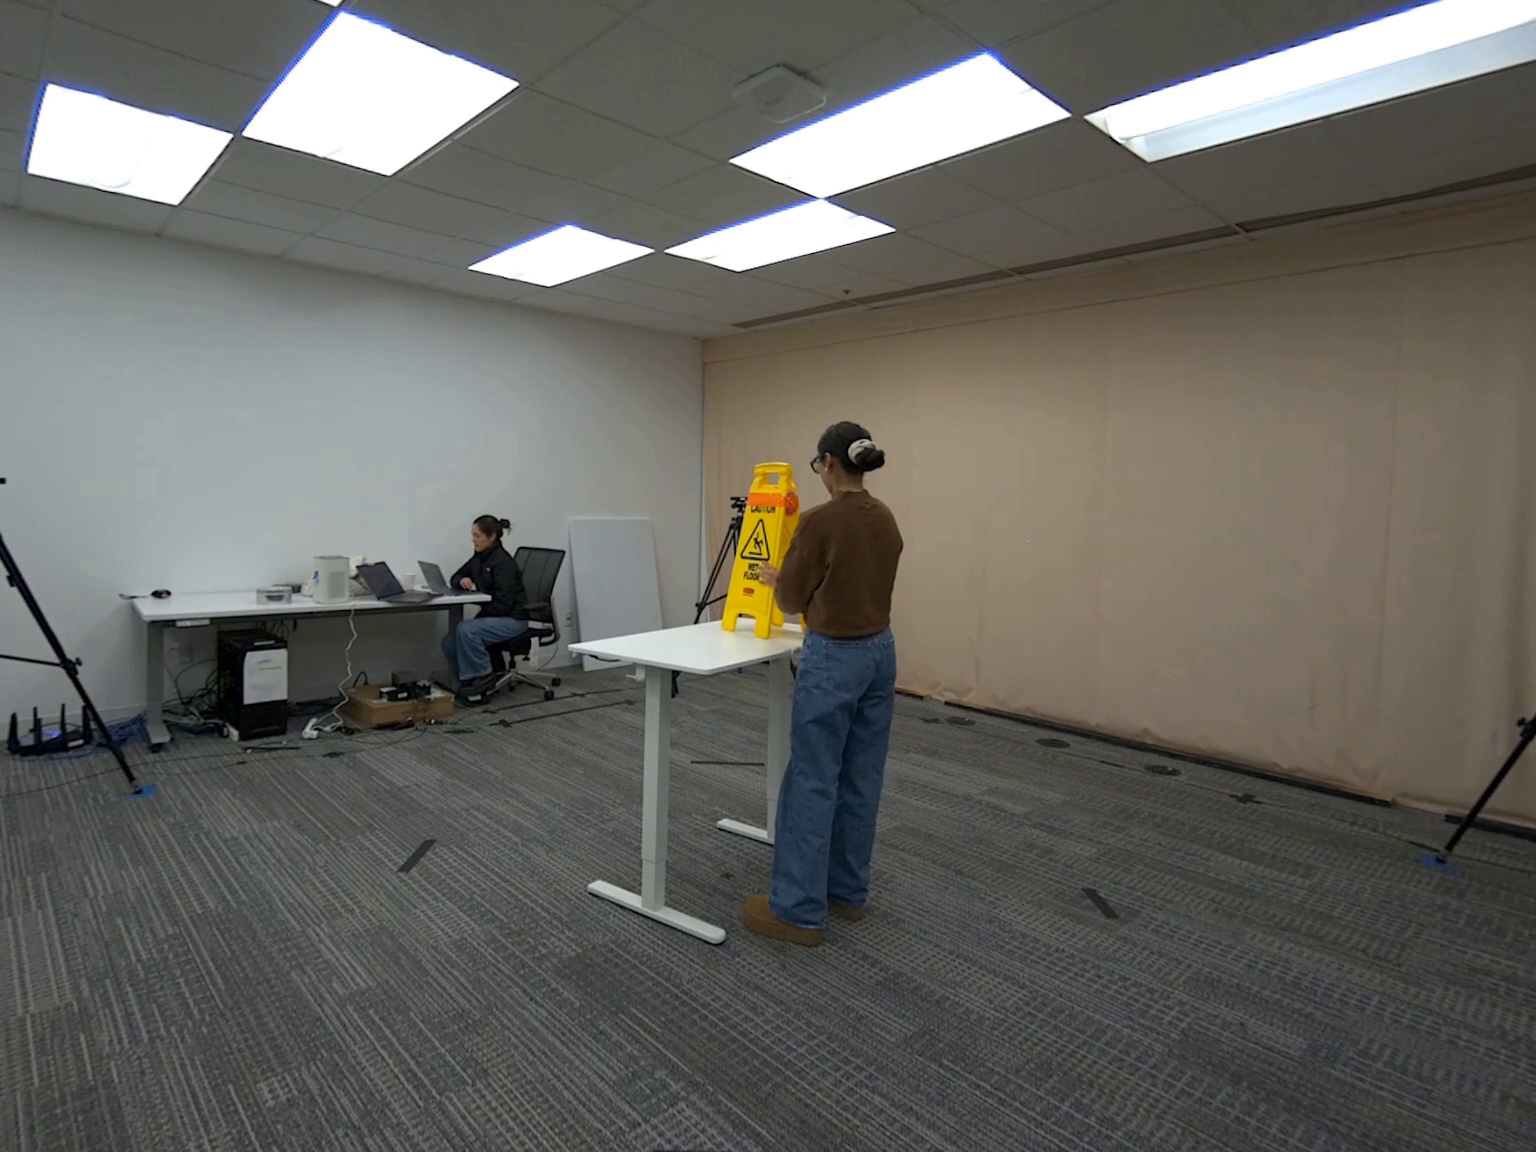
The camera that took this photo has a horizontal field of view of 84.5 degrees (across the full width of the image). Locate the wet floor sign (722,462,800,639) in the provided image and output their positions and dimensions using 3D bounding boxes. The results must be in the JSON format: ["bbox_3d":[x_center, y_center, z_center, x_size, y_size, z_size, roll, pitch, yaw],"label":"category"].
[{"bbox_3d":[0.003,-0.107,3.241,0.283,0.644,0.289,-2,4,-37],"label":"wet floor sign"}]
